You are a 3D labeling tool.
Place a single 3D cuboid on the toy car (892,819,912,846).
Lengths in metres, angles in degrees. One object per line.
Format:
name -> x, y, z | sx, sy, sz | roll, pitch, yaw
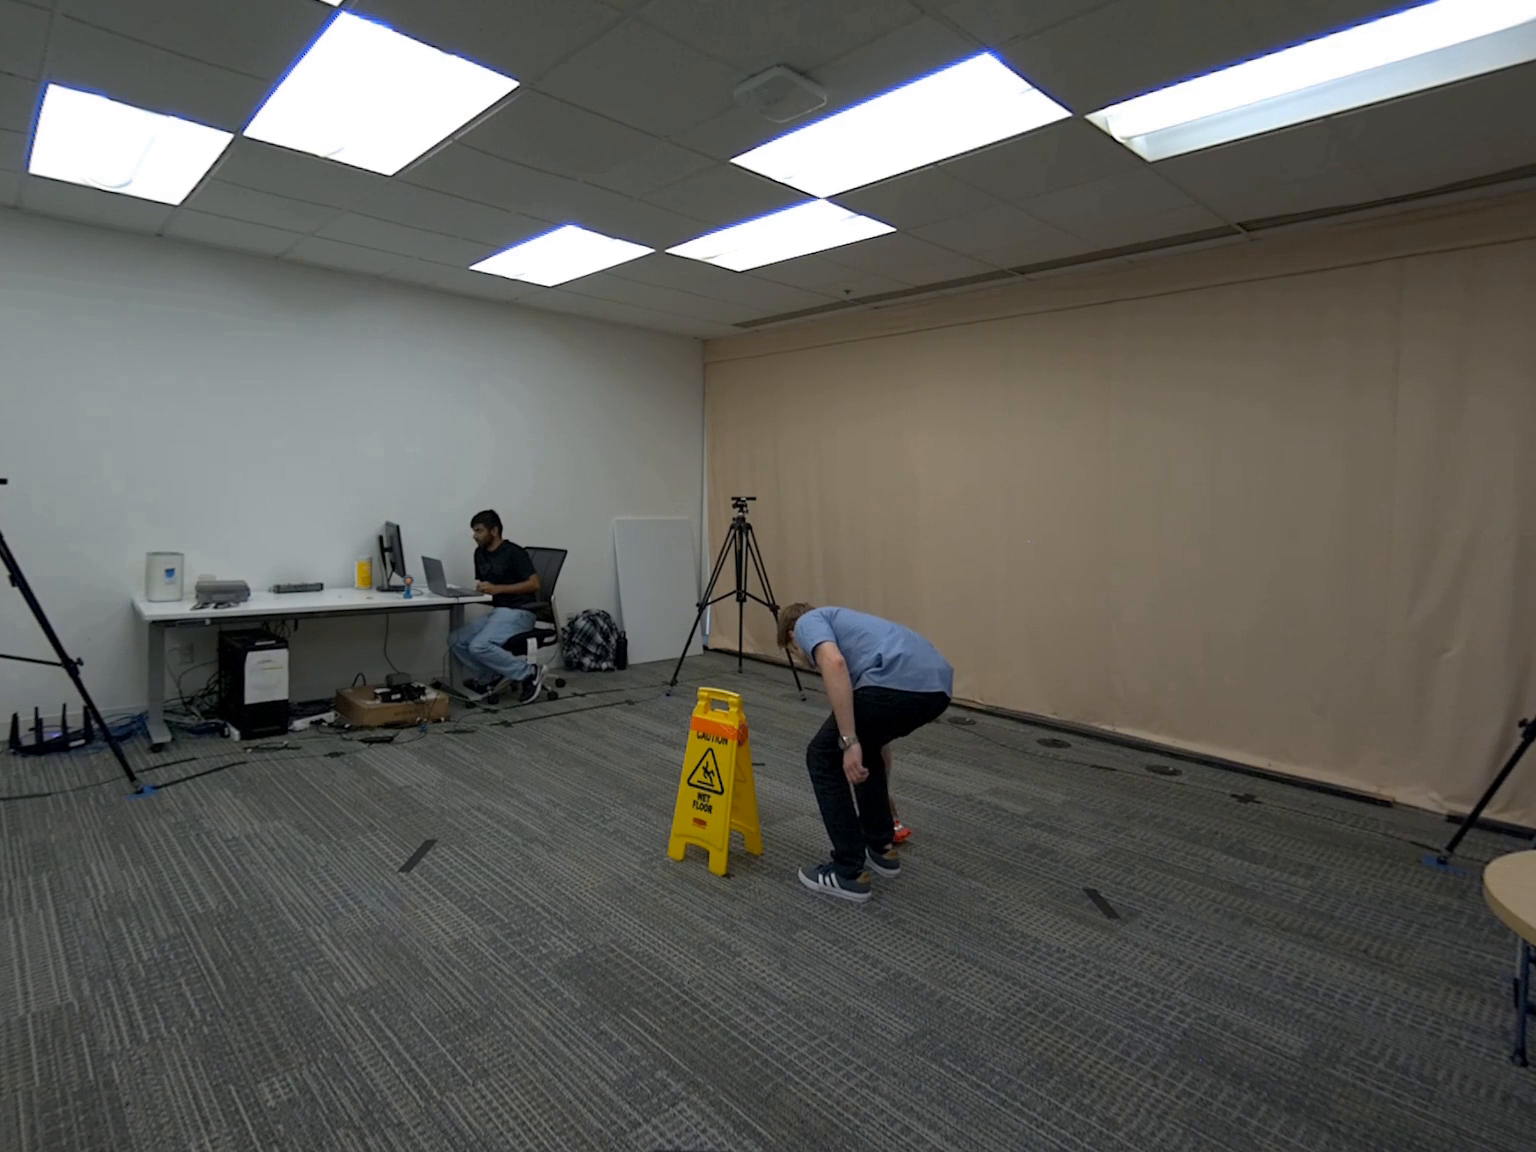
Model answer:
toy car -> 0.469, 1.061, 3.499 | 0.260, 0.083, 0.127 | -7, -2, 40
